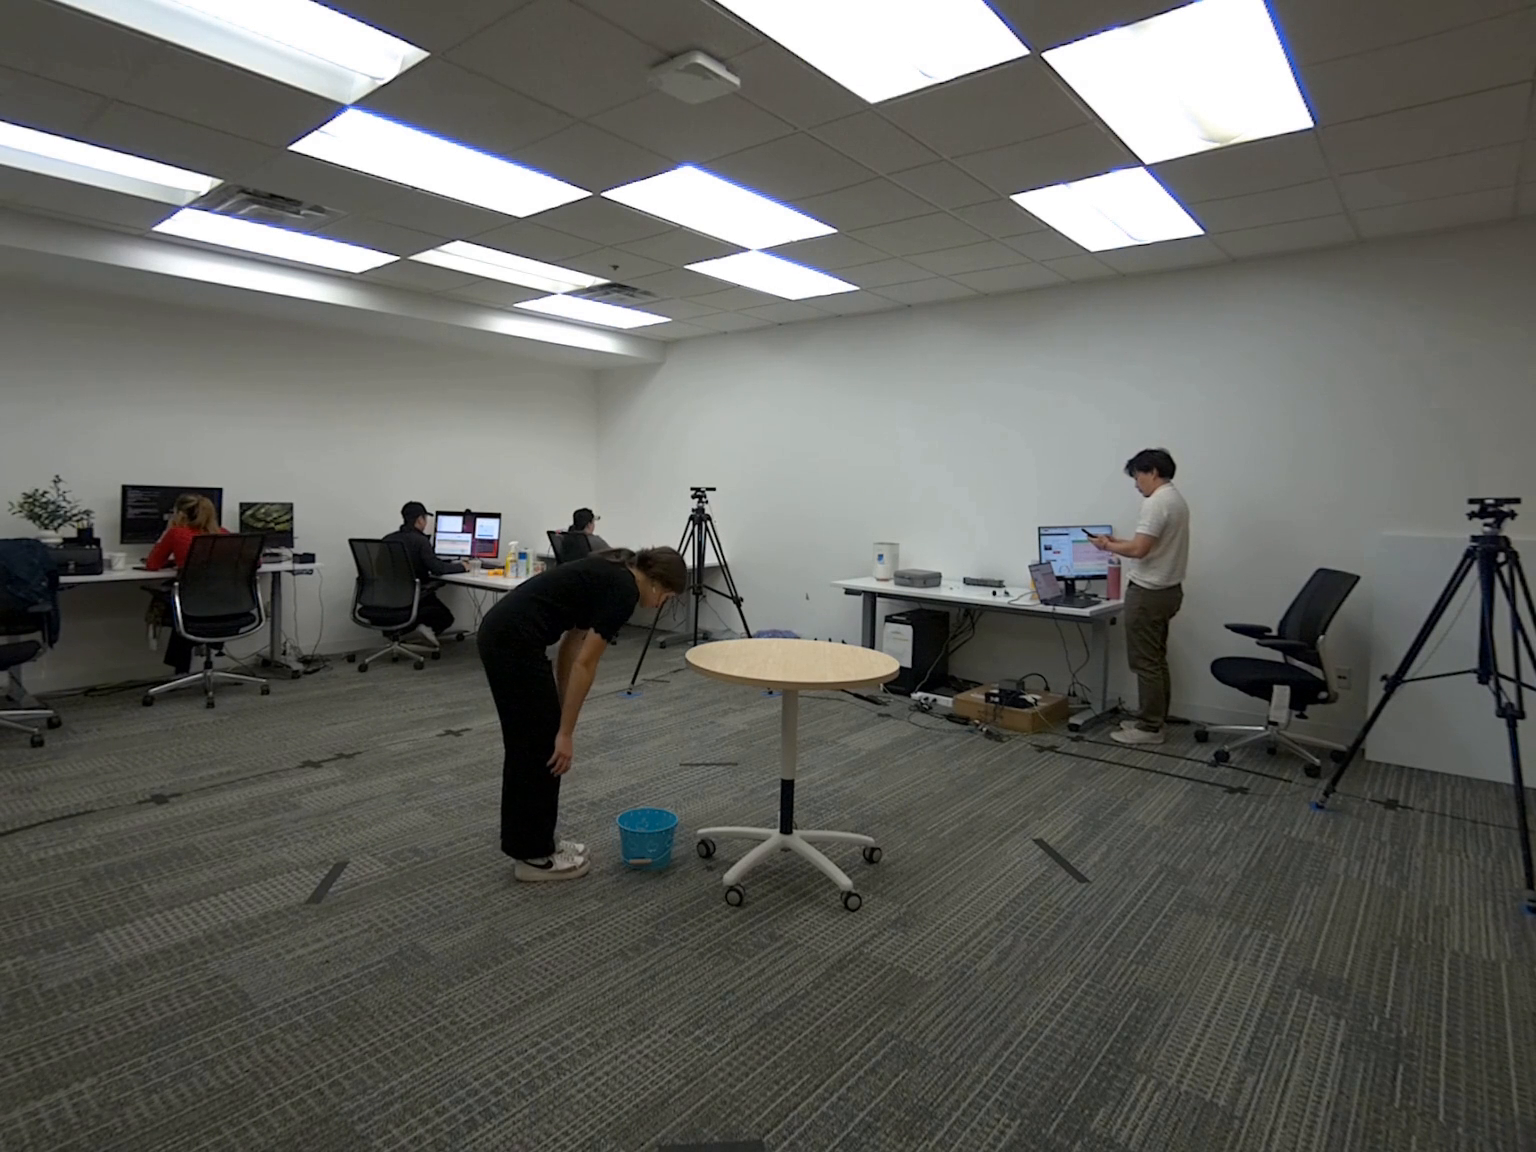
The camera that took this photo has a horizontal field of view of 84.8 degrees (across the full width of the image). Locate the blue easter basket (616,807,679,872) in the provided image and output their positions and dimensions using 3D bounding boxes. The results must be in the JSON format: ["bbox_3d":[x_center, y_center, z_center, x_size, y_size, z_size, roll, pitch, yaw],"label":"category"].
[{"bbox_3d":[-0.473,0.981,3.171,0.243,0.155,0.245,2,4,-2],"label":"blue easter basket"}]
